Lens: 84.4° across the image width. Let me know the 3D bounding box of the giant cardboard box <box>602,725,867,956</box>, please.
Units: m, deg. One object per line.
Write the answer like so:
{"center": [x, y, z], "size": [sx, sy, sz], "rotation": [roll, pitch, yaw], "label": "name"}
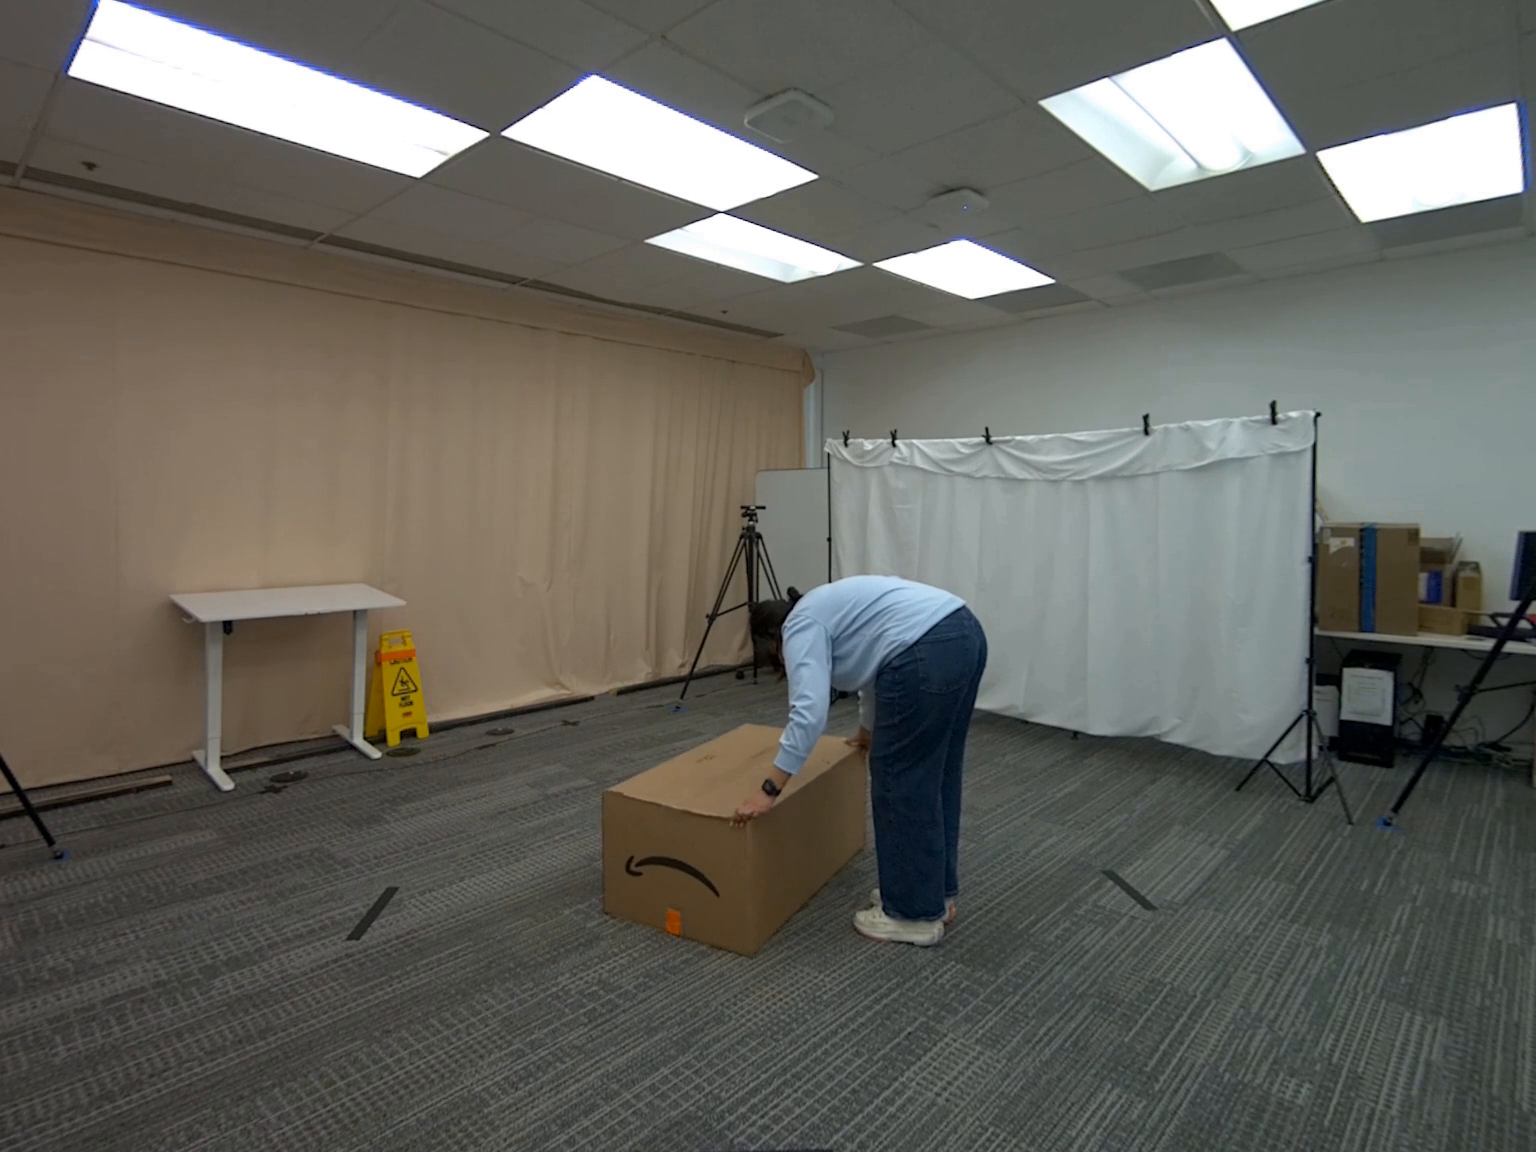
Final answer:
{"center": [-0.078, 0.917, 3.163], "size": [0.594, 0.425, 1.000], "rotation": [3, 6, 29], "label": "giant cardboard box"}
